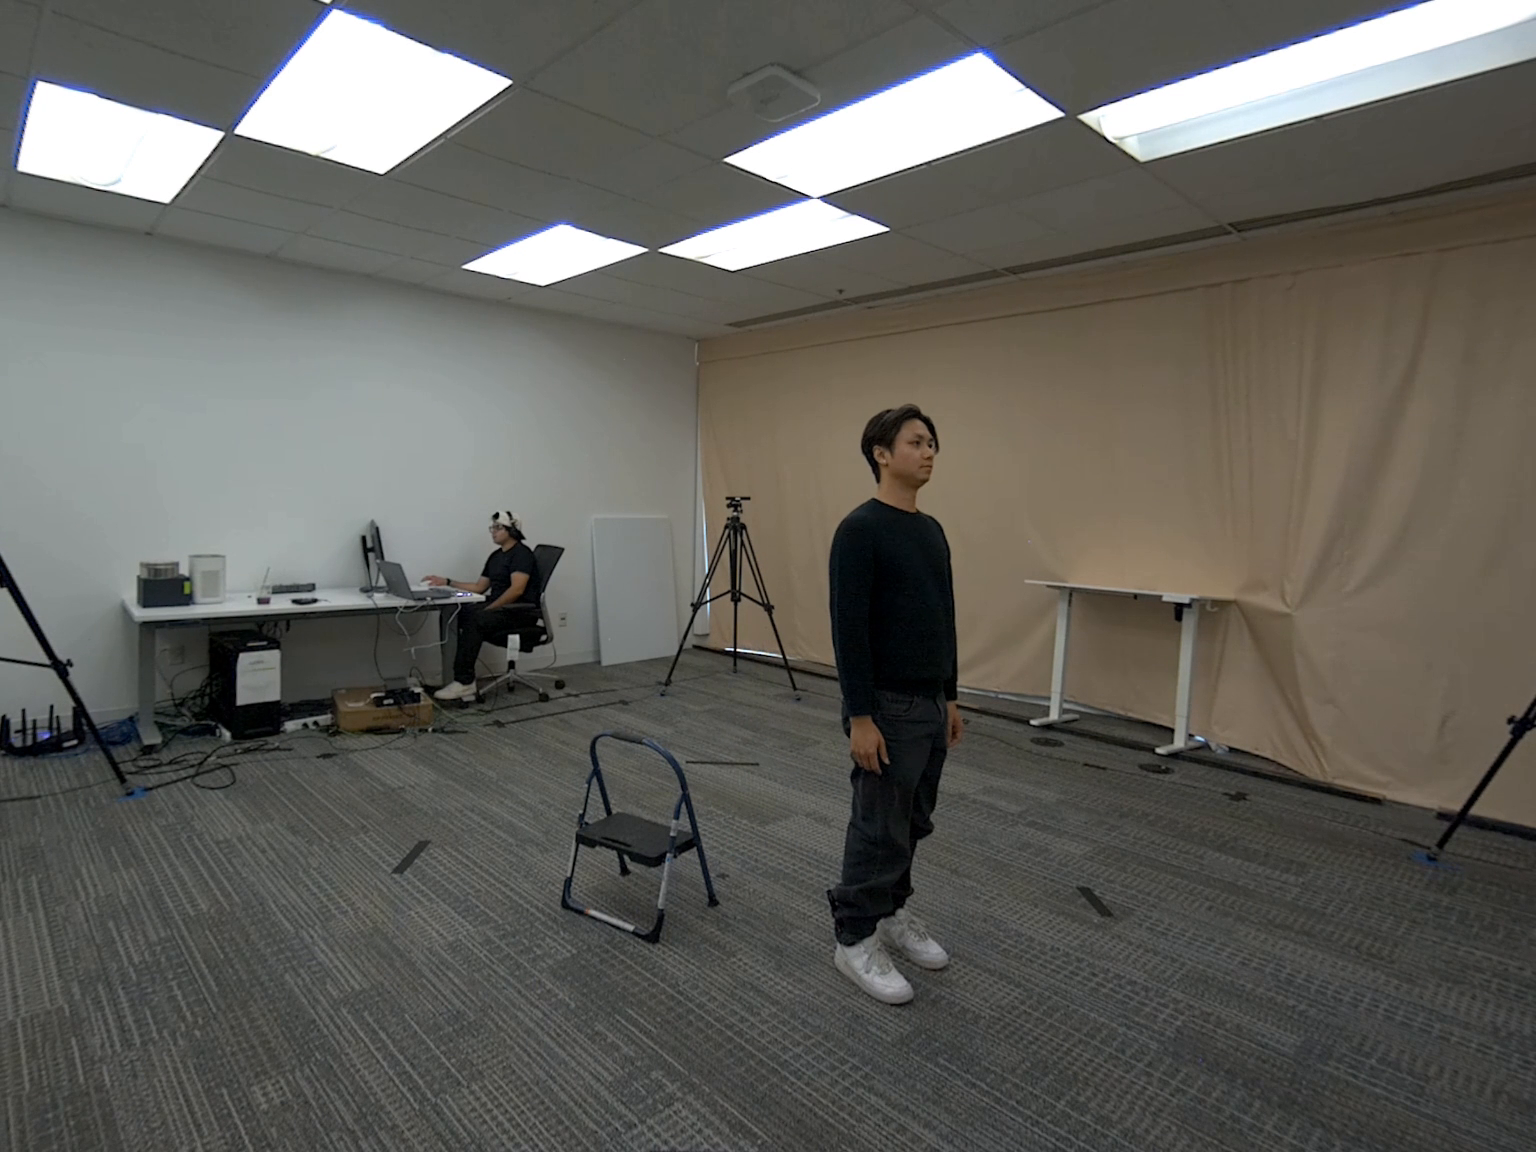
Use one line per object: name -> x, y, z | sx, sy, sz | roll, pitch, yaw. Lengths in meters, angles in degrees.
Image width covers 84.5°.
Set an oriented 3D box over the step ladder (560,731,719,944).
step ladder -> -0.436, 0.819, 2.851 | 0.440, 0.605, 0.342 | 3, 4, 32
